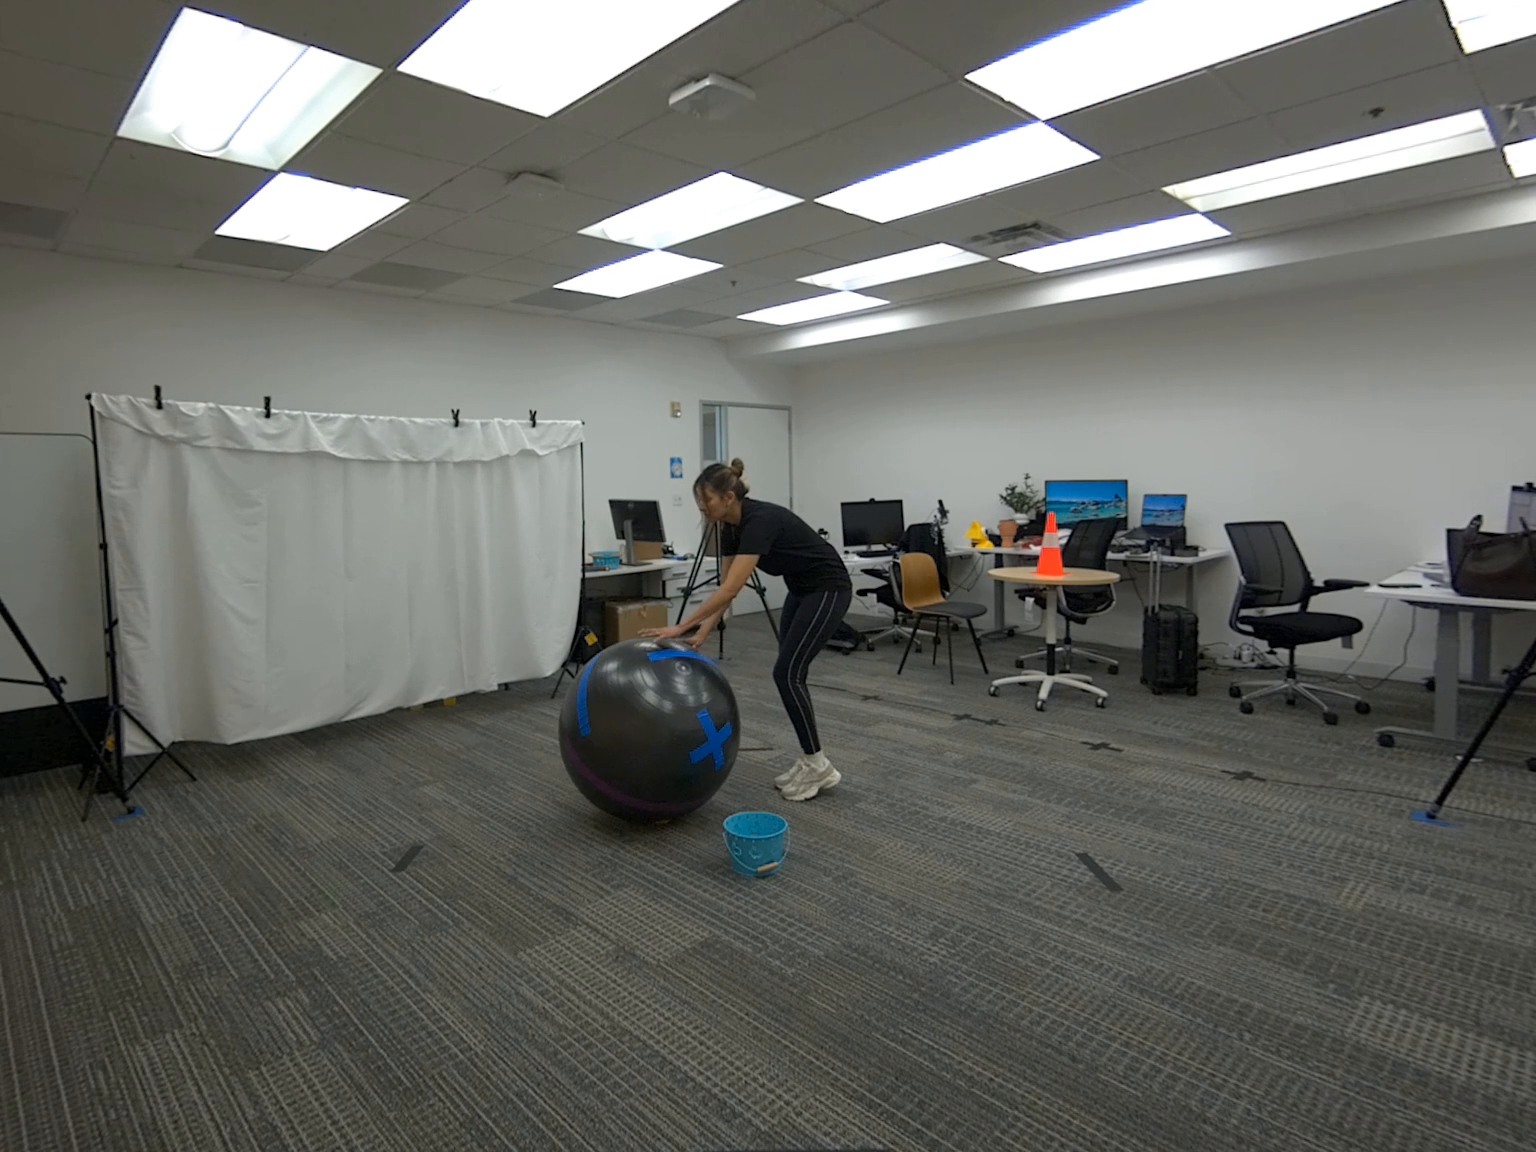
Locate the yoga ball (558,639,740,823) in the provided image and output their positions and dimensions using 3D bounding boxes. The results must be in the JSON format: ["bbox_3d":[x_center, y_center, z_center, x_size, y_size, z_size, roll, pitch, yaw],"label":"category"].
[{"bbox_3d":[-0.493,0.635,3.570,0.757,0.755,0.762,-1,5,-2],"label":"yoga ball"}]
